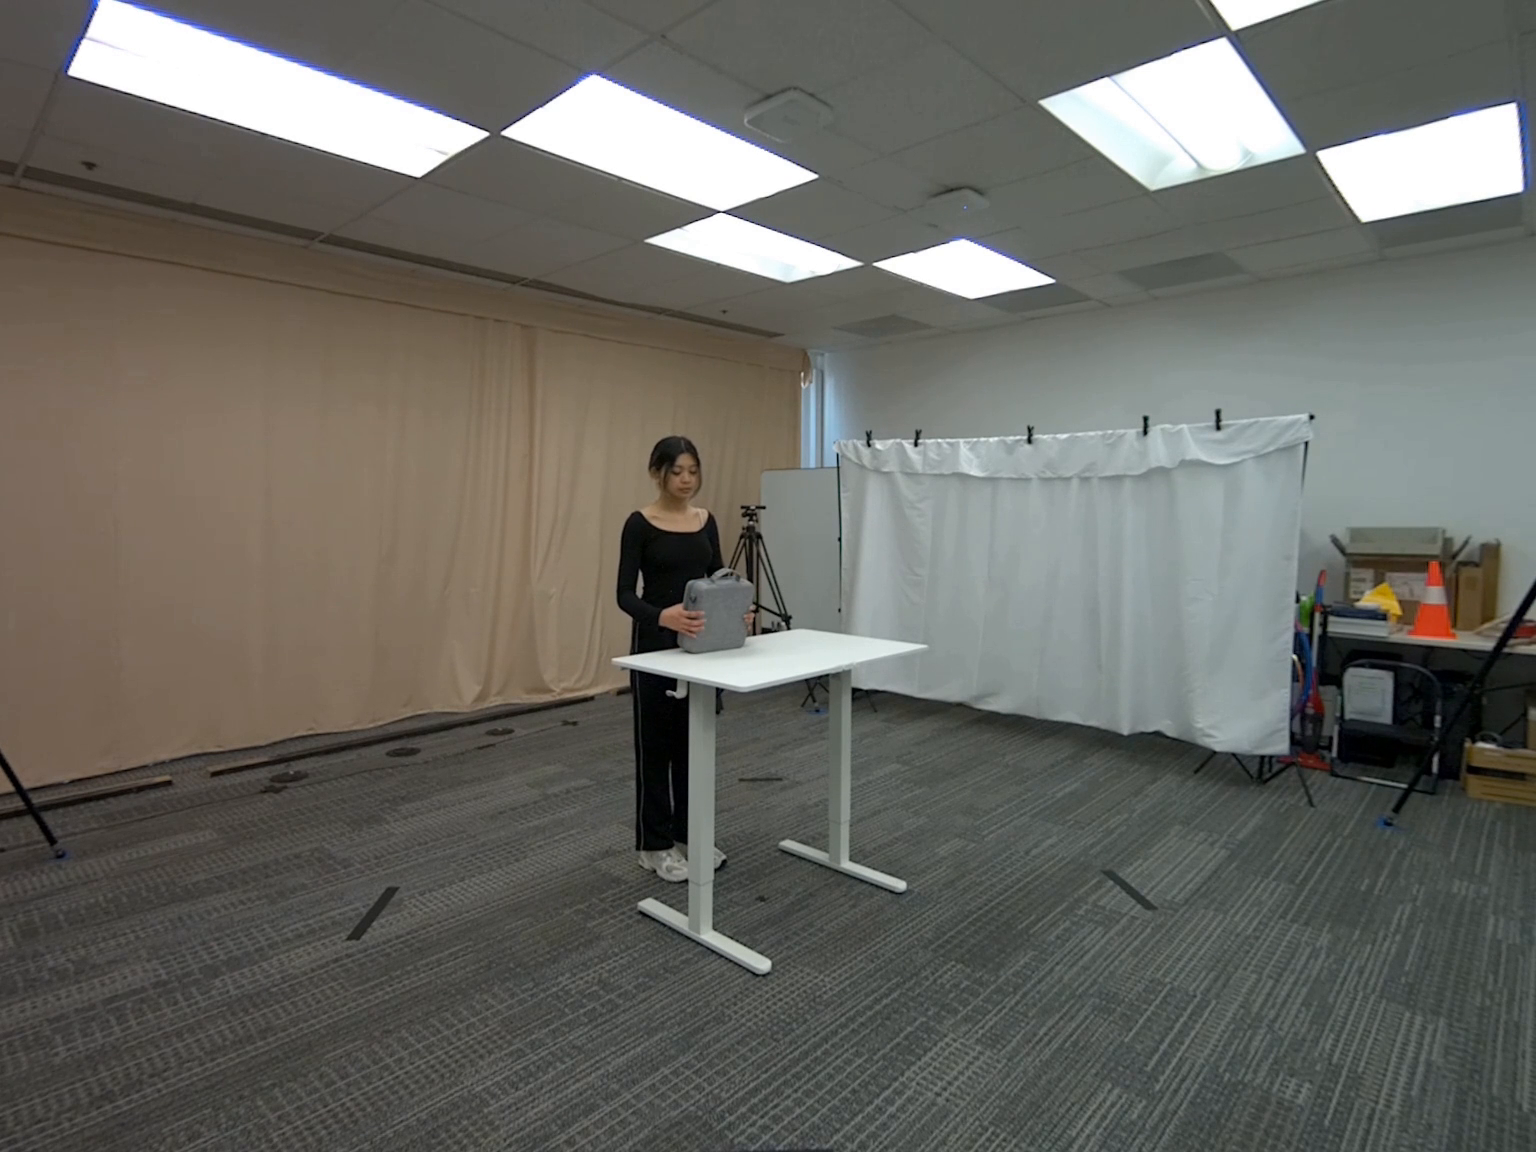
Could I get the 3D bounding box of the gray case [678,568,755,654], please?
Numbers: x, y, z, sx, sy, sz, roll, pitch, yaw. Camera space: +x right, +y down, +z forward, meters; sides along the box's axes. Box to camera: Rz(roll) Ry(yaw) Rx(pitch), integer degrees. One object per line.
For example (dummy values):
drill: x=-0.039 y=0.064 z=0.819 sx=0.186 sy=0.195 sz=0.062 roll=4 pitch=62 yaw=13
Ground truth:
gray case: x=-0.181 y=0.132 z=2.955 sx=0.249 sy=0.259 sz=0.108 roll=-3 pitch=18 yaw=-37
